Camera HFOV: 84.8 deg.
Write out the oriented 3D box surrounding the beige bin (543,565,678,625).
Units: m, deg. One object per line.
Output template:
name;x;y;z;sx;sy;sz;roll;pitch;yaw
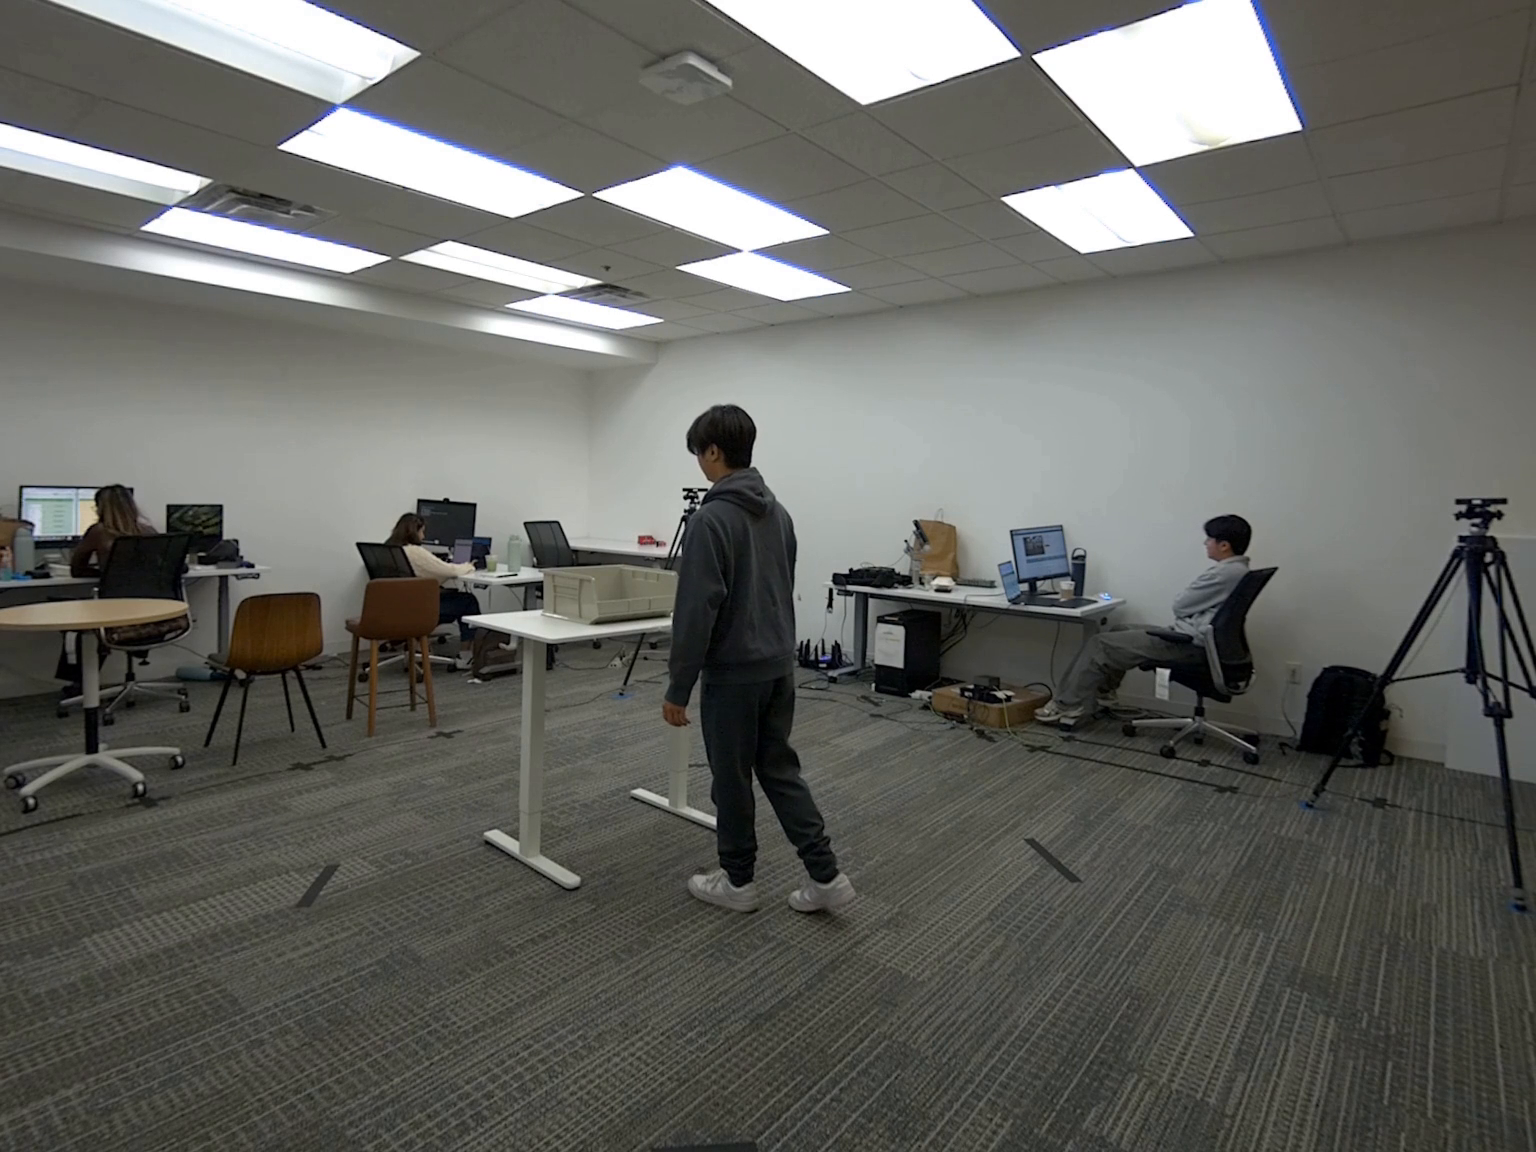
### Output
beige bin;-0.630;0.069;3.345;0.390;0.188;0.409;5;6;43
